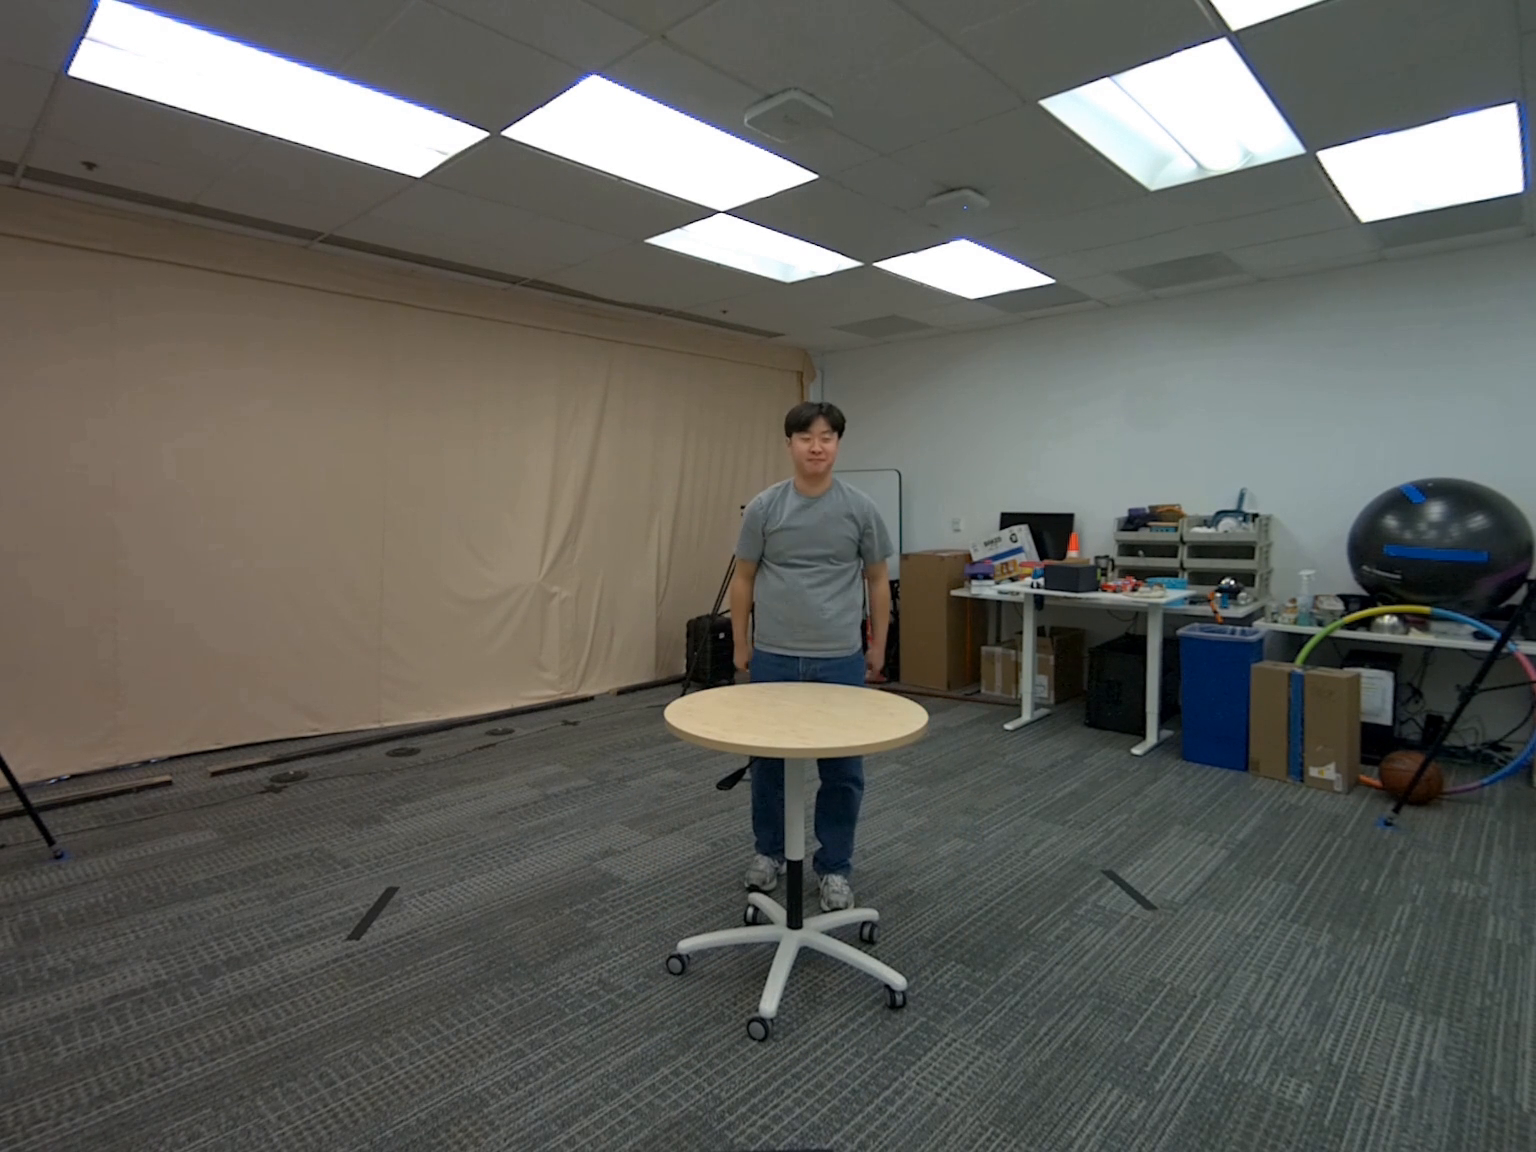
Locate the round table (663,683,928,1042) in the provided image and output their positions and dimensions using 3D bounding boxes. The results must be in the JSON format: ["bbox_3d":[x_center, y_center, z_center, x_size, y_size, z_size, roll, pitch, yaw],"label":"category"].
[{"bbox_3d":[0.072,0.789,2.492,0.763,0.792,0.766,0,4,-2],"label":"round table"}]
